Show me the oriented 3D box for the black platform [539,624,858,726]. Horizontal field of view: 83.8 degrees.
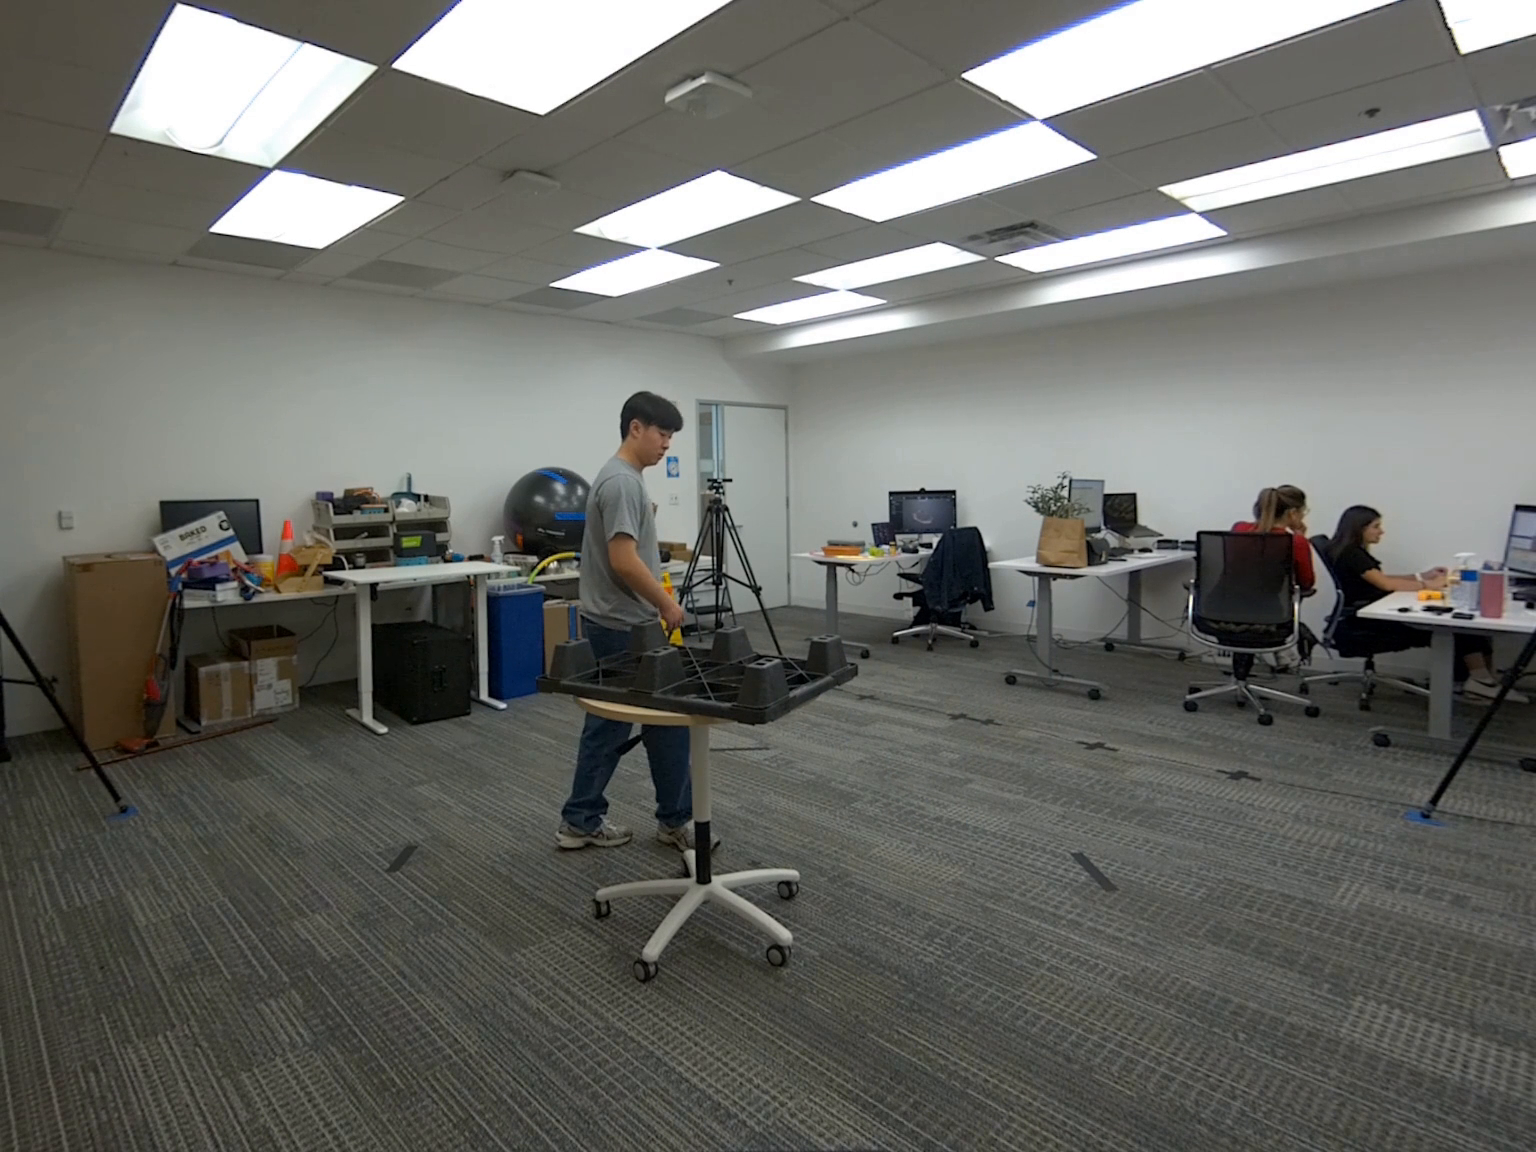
[{"bbox_3d":[-0.201,0.263,2.589,0.827,0.142,0.592,2,8,31],"label":"black platform"}]
